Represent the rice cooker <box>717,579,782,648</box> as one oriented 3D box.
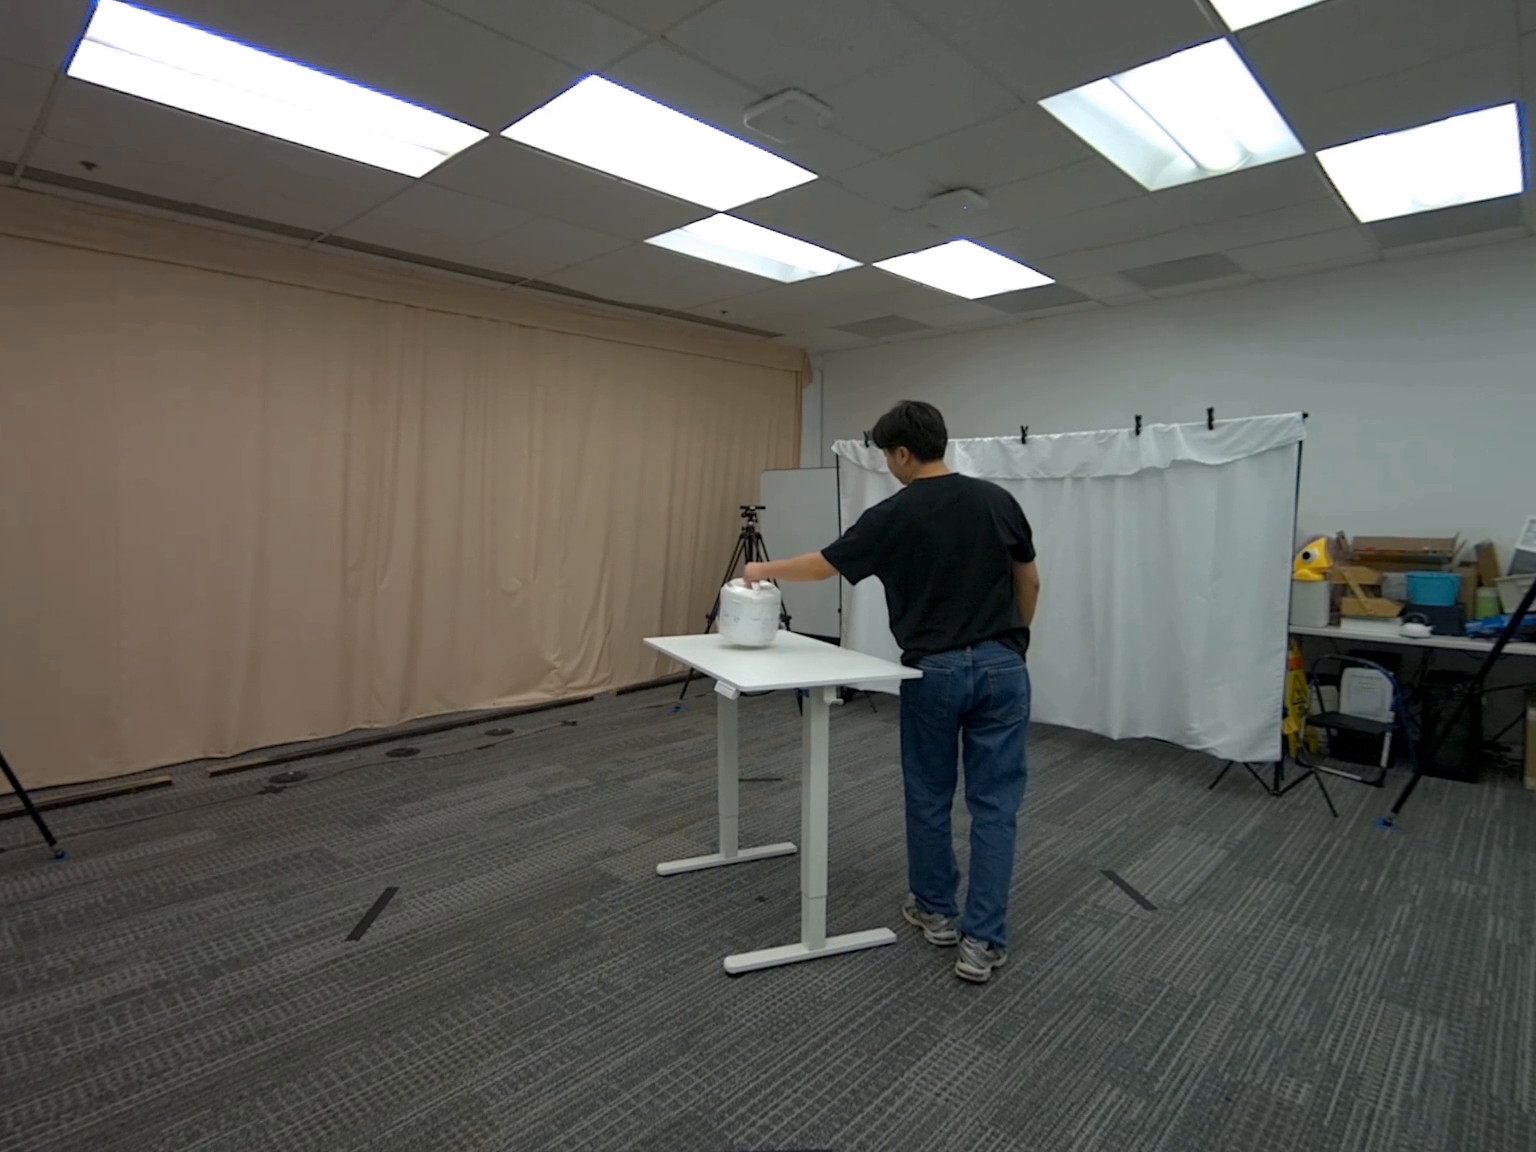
[{"bbox_3d":[-0.057,0.116,3.020,0.215,0.231,0.224,3,13,-10],"label":"rice cooker"}]
